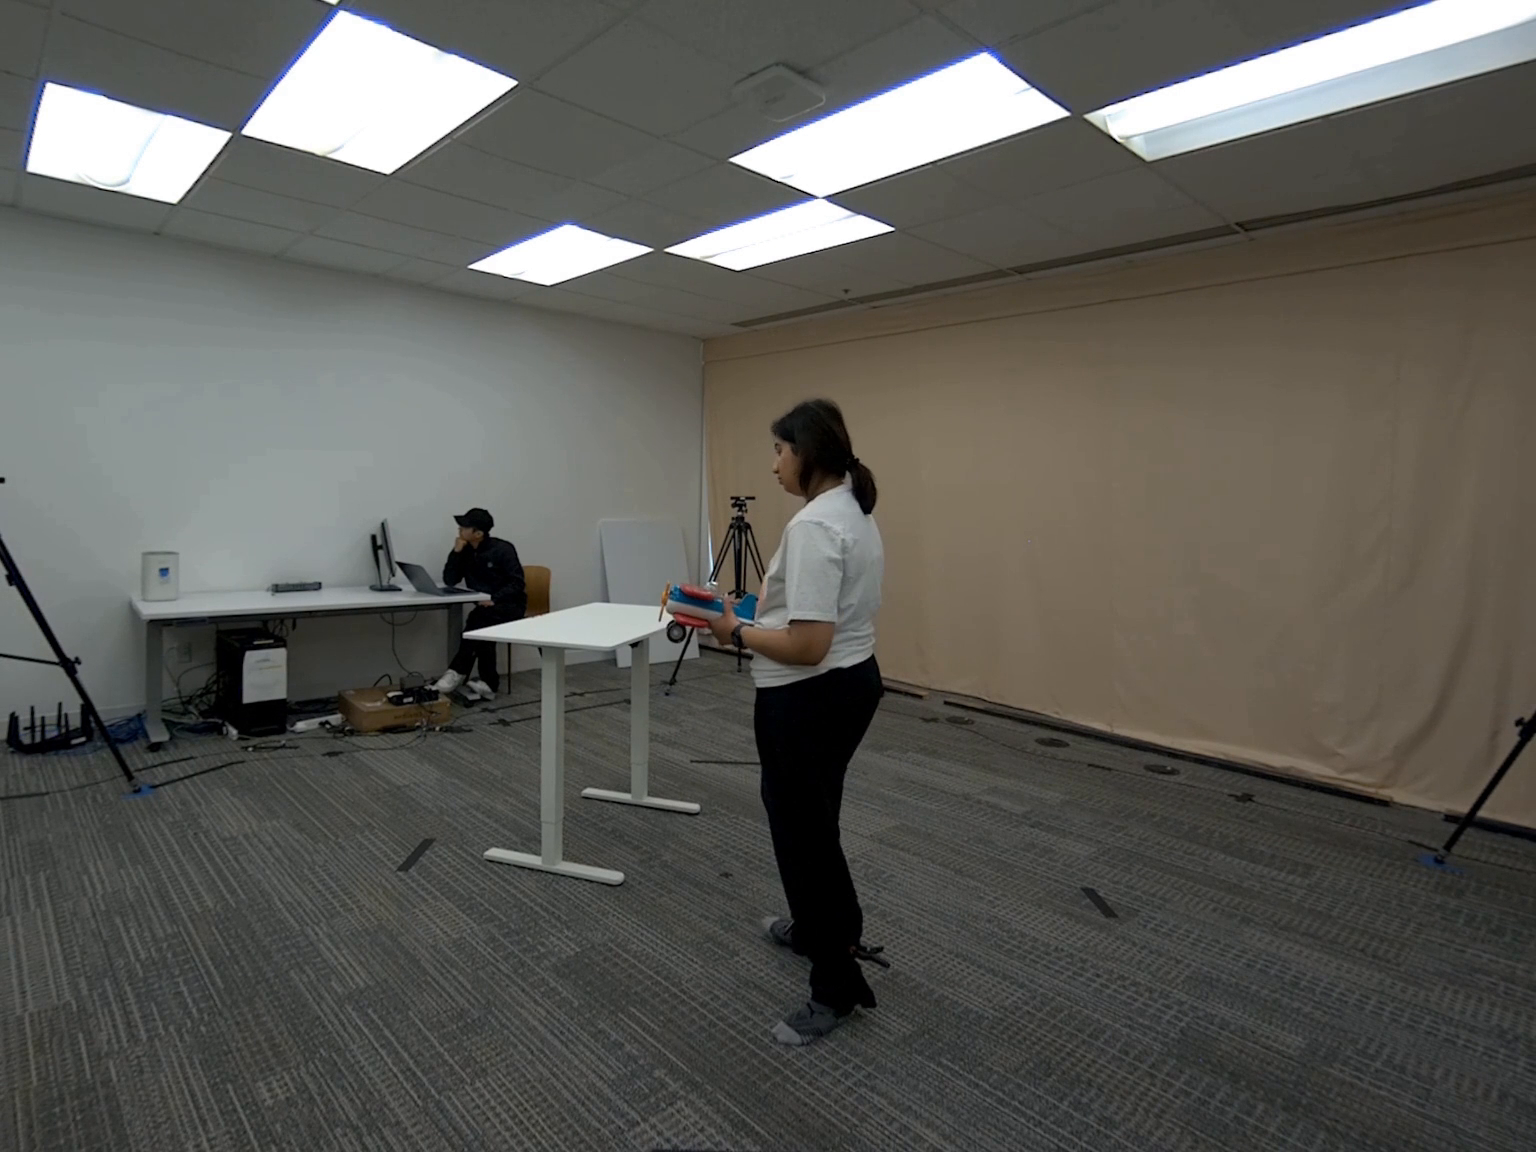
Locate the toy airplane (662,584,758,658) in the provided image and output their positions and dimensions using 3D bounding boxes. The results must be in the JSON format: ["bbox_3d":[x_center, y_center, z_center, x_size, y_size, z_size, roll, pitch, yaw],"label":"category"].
[{"bbox_3d":[-0.169,0.100,2.311,0.254,0.156,0.257,0,2,-33],"label":"toy airplane"}]
